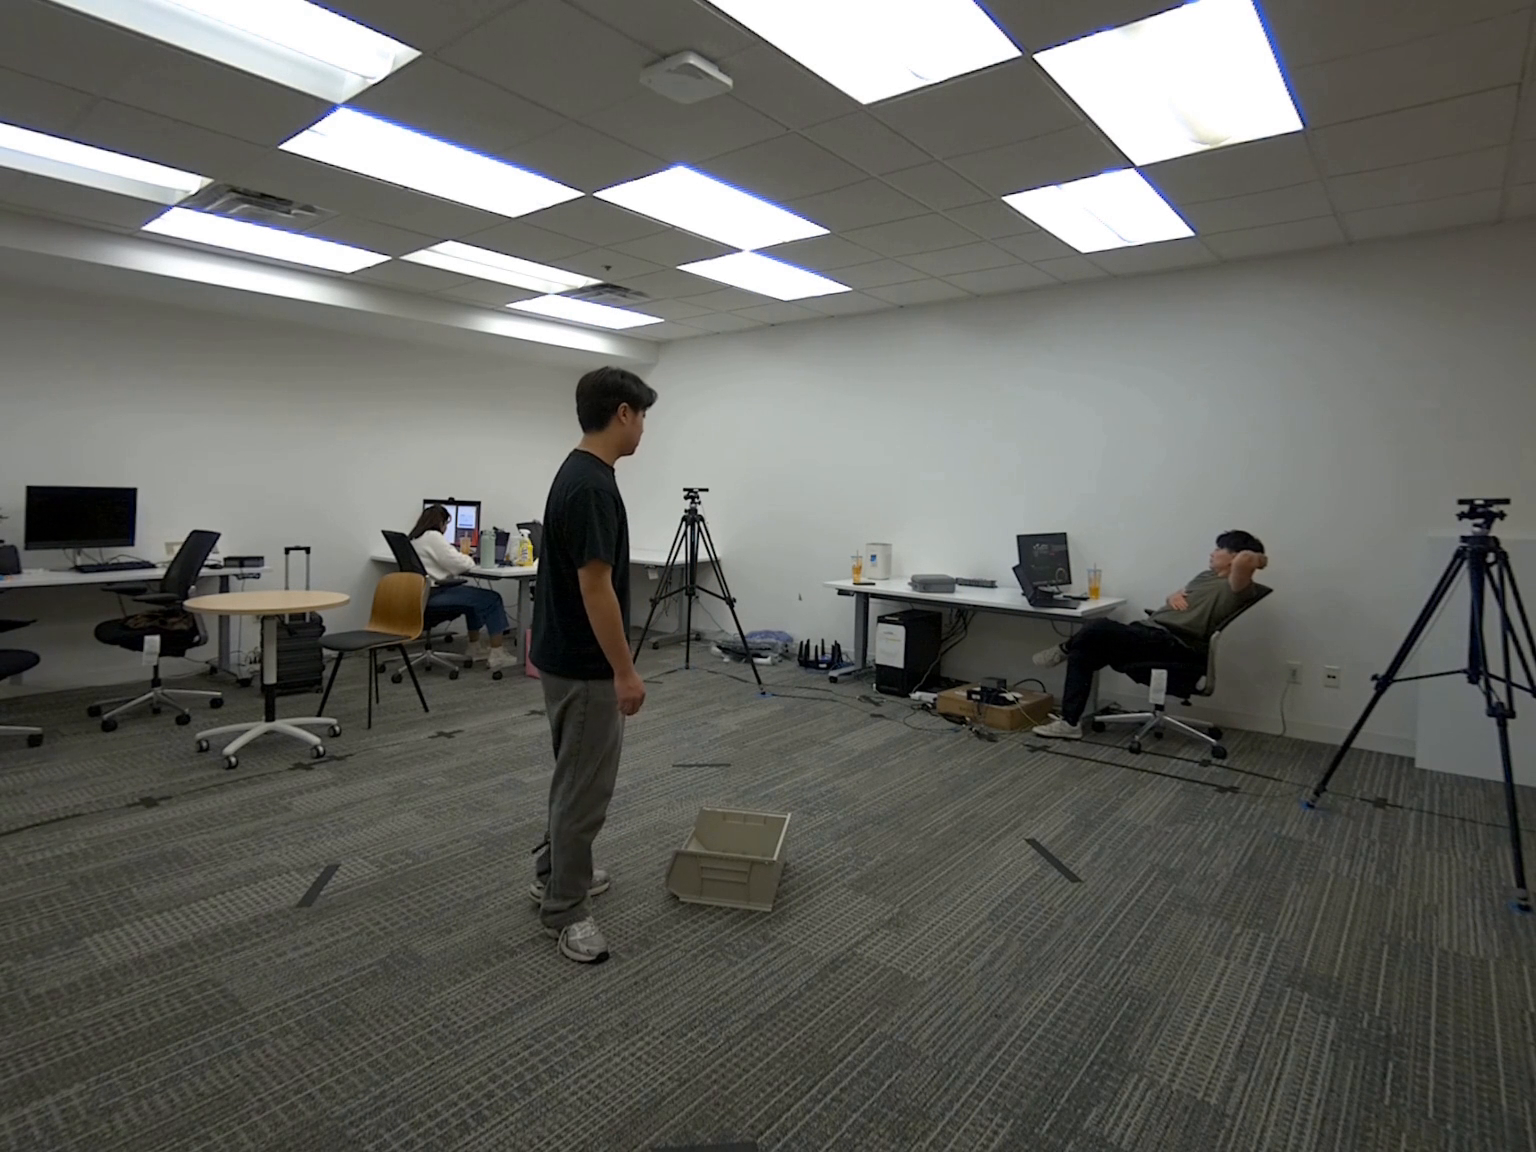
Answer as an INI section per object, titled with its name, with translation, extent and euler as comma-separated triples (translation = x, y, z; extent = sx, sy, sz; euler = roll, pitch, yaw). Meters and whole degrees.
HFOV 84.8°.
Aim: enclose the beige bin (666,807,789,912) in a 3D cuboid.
[beige bin]
translation = -0.140, 0.991, 3.027
extent = 0.382, 0.188, 0.419
euler = 3, 5, 9
